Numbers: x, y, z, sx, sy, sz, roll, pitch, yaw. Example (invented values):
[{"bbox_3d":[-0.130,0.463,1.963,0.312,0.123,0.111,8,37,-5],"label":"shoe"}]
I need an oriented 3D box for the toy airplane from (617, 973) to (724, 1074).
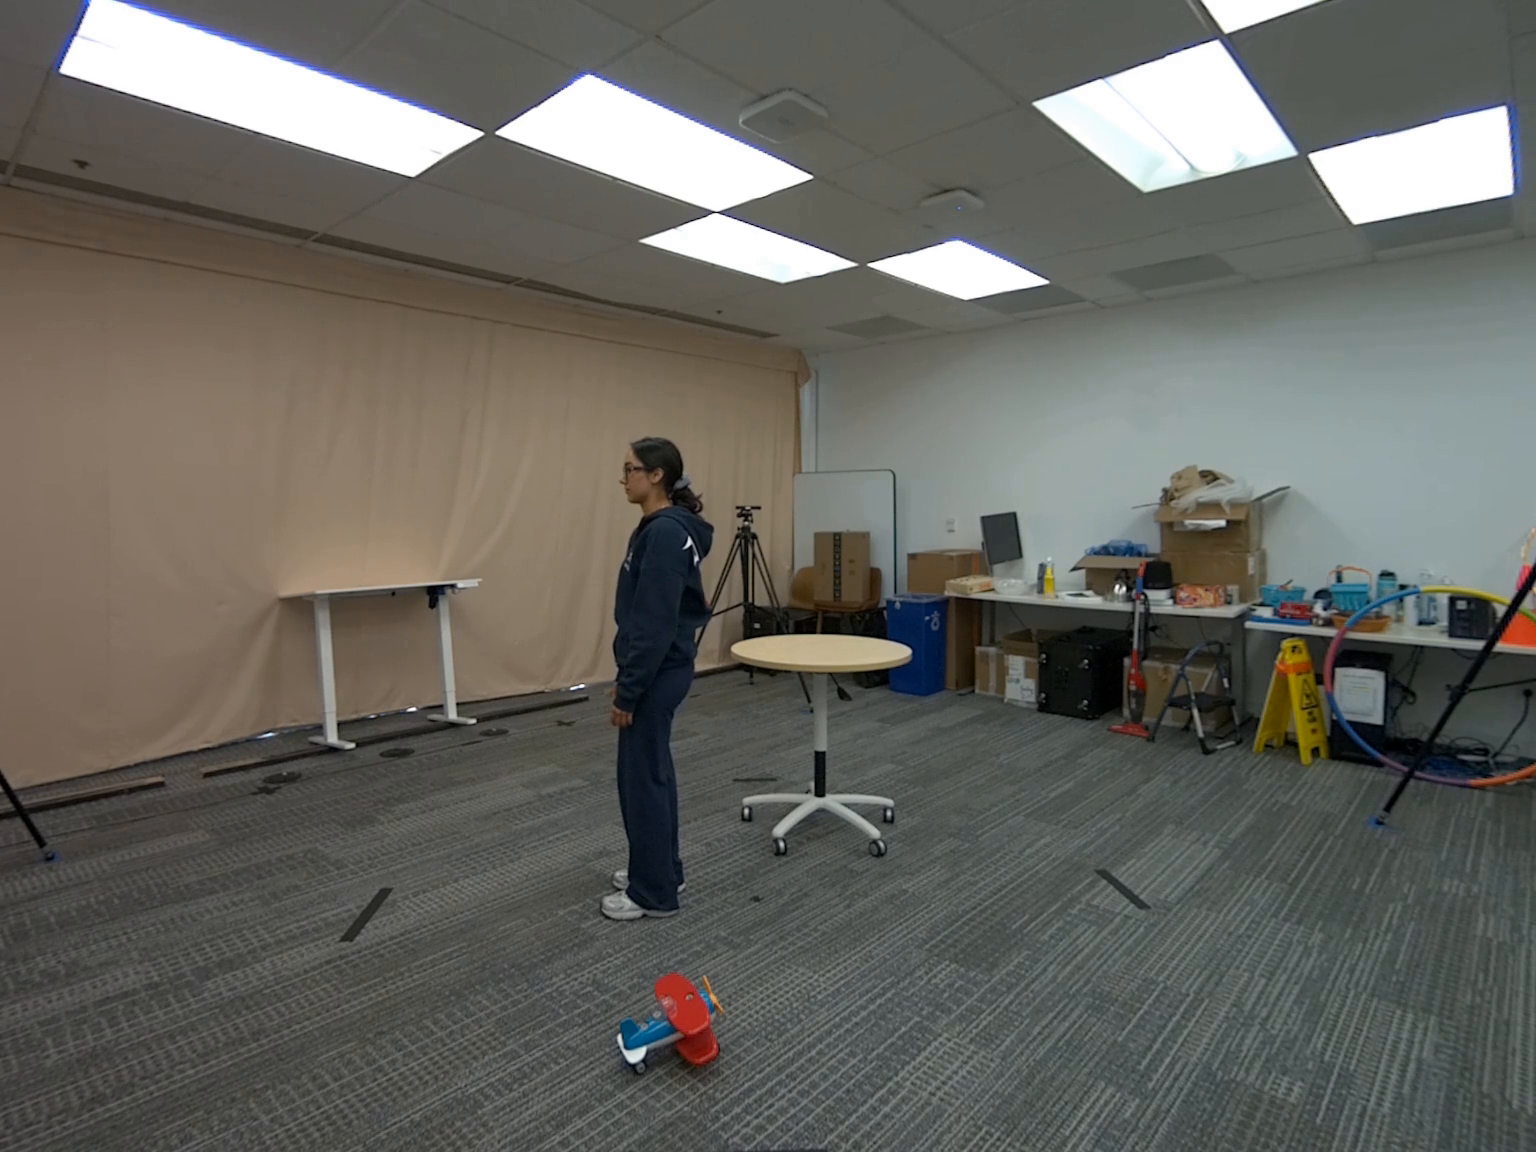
[{"bbox_3d":[-0.220,1.150,2.101,0.259,0.156,0.251,4,5,41],"label":"toy airplane"}]
